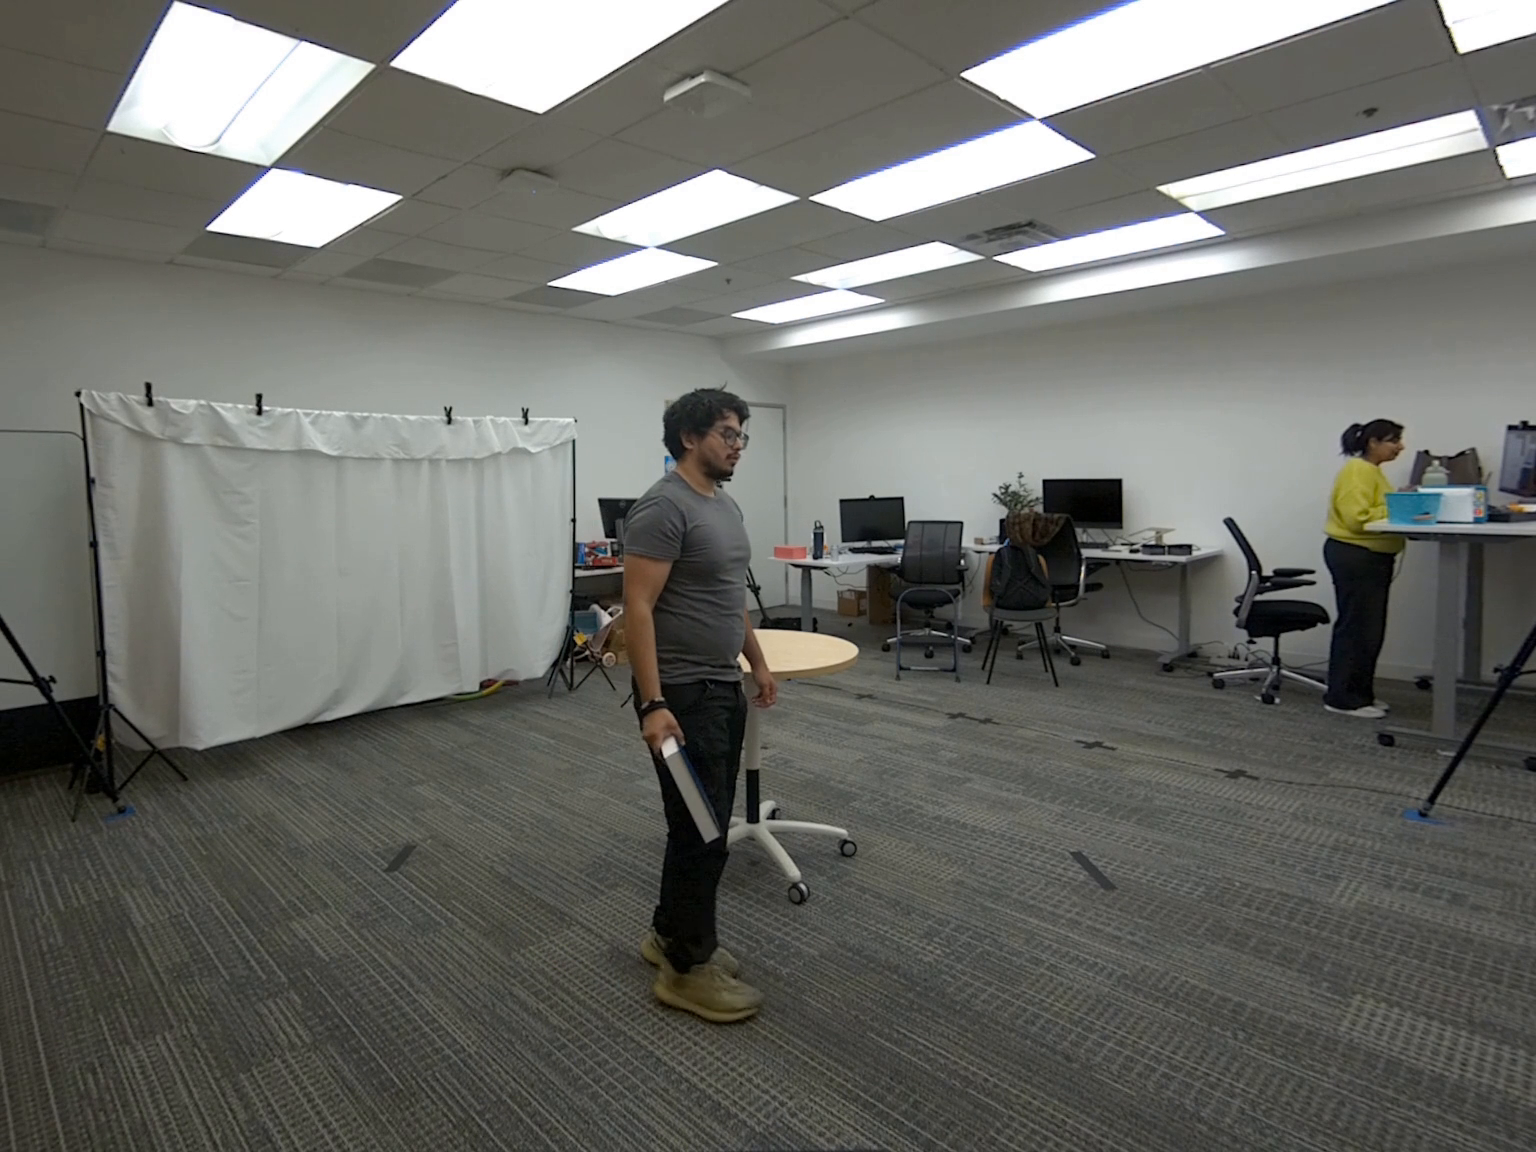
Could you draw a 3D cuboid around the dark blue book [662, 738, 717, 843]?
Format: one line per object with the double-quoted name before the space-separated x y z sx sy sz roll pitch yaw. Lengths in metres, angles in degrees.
"dark blue book" -0.191 0.510 2.051 0.045 0.242 0.166 -19 12 -6
